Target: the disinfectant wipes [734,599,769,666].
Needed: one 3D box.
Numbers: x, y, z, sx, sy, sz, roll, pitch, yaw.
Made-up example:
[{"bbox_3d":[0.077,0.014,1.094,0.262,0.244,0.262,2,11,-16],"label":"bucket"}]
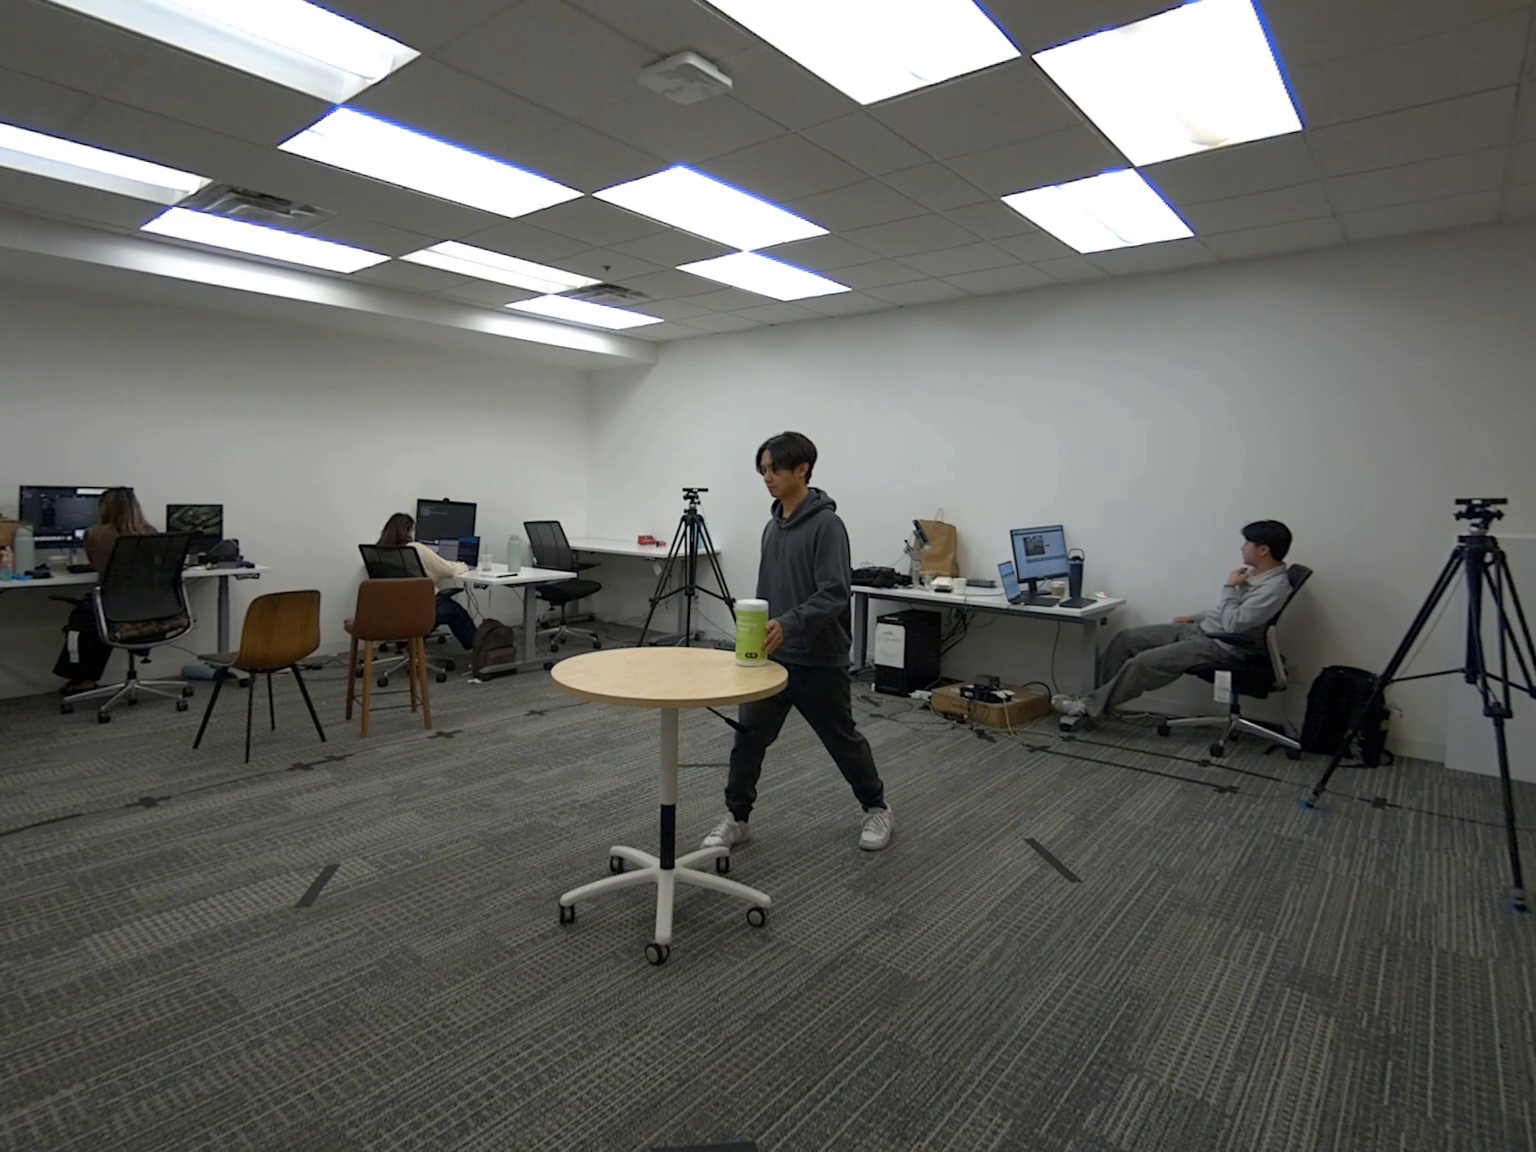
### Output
[{"bbox_3d":[-0.062,0.187,2.884,0.118,0.217,0.118,1,4,-2],"label":"disinfectant wipes"}]
